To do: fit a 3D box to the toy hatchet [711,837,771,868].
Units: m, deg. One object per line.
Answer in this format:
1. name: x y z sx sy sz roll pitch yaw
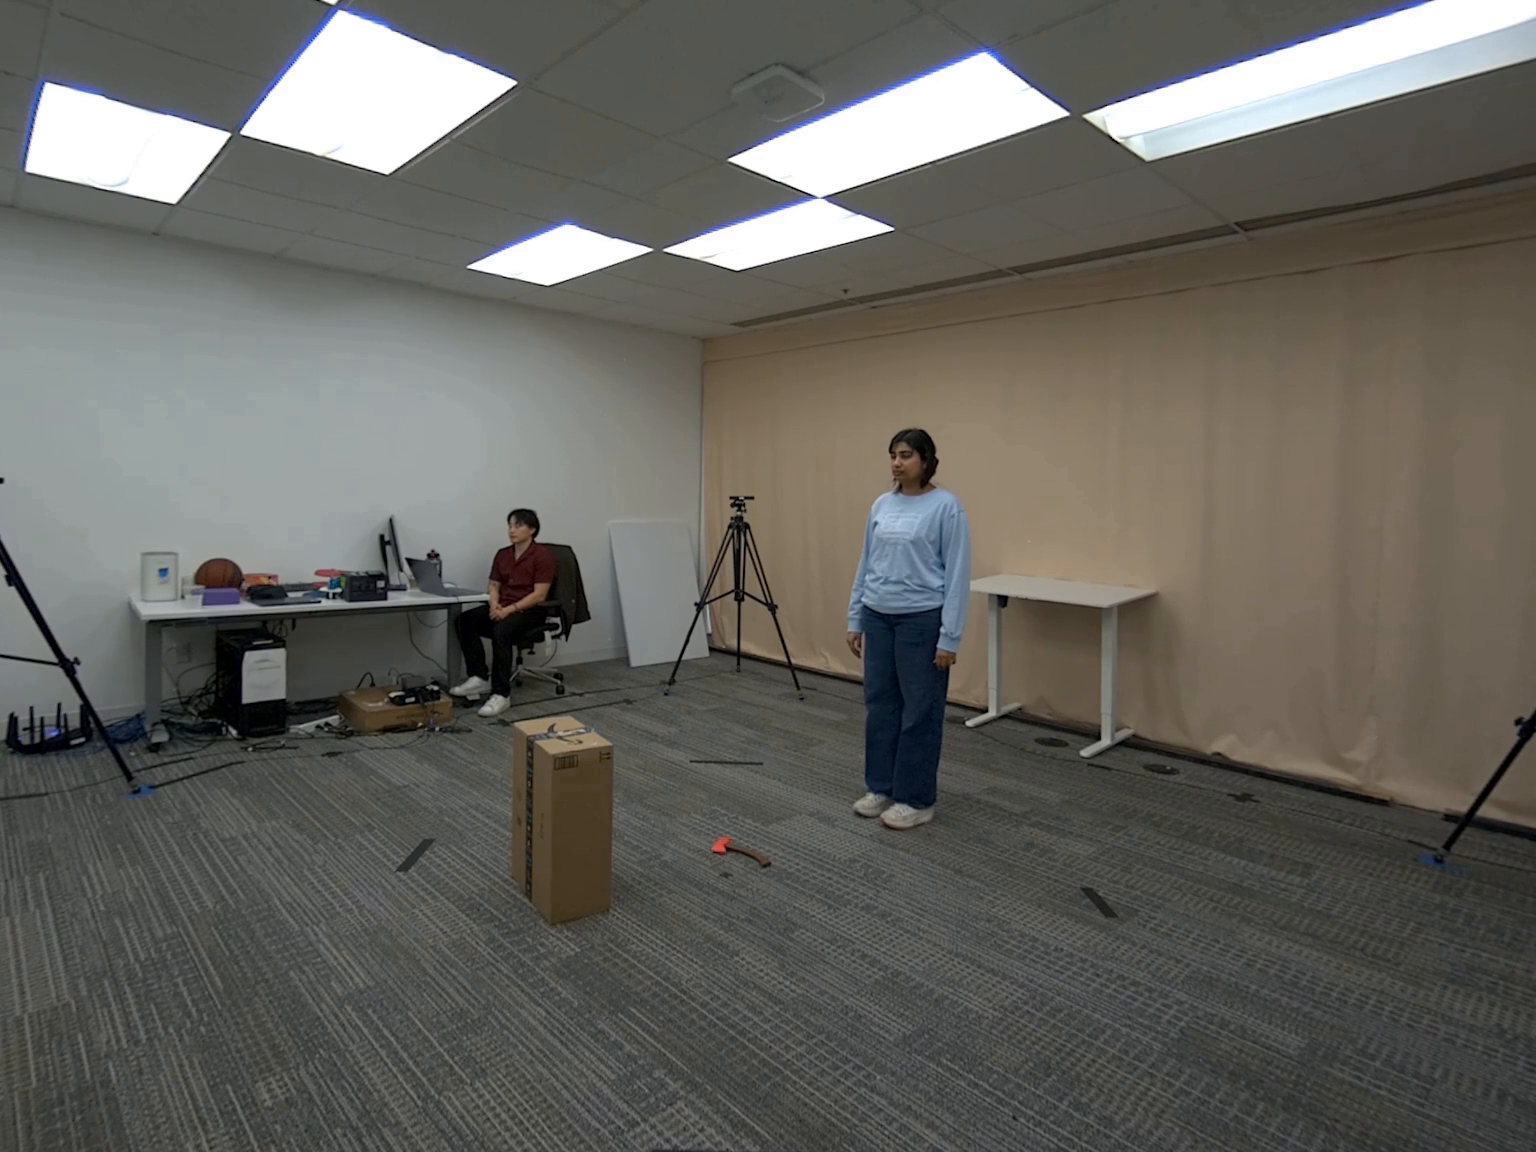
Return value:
1. toy hatchet: -0.124 1.077 3.261 0.128 0.029 0.277 -3 8 -37
